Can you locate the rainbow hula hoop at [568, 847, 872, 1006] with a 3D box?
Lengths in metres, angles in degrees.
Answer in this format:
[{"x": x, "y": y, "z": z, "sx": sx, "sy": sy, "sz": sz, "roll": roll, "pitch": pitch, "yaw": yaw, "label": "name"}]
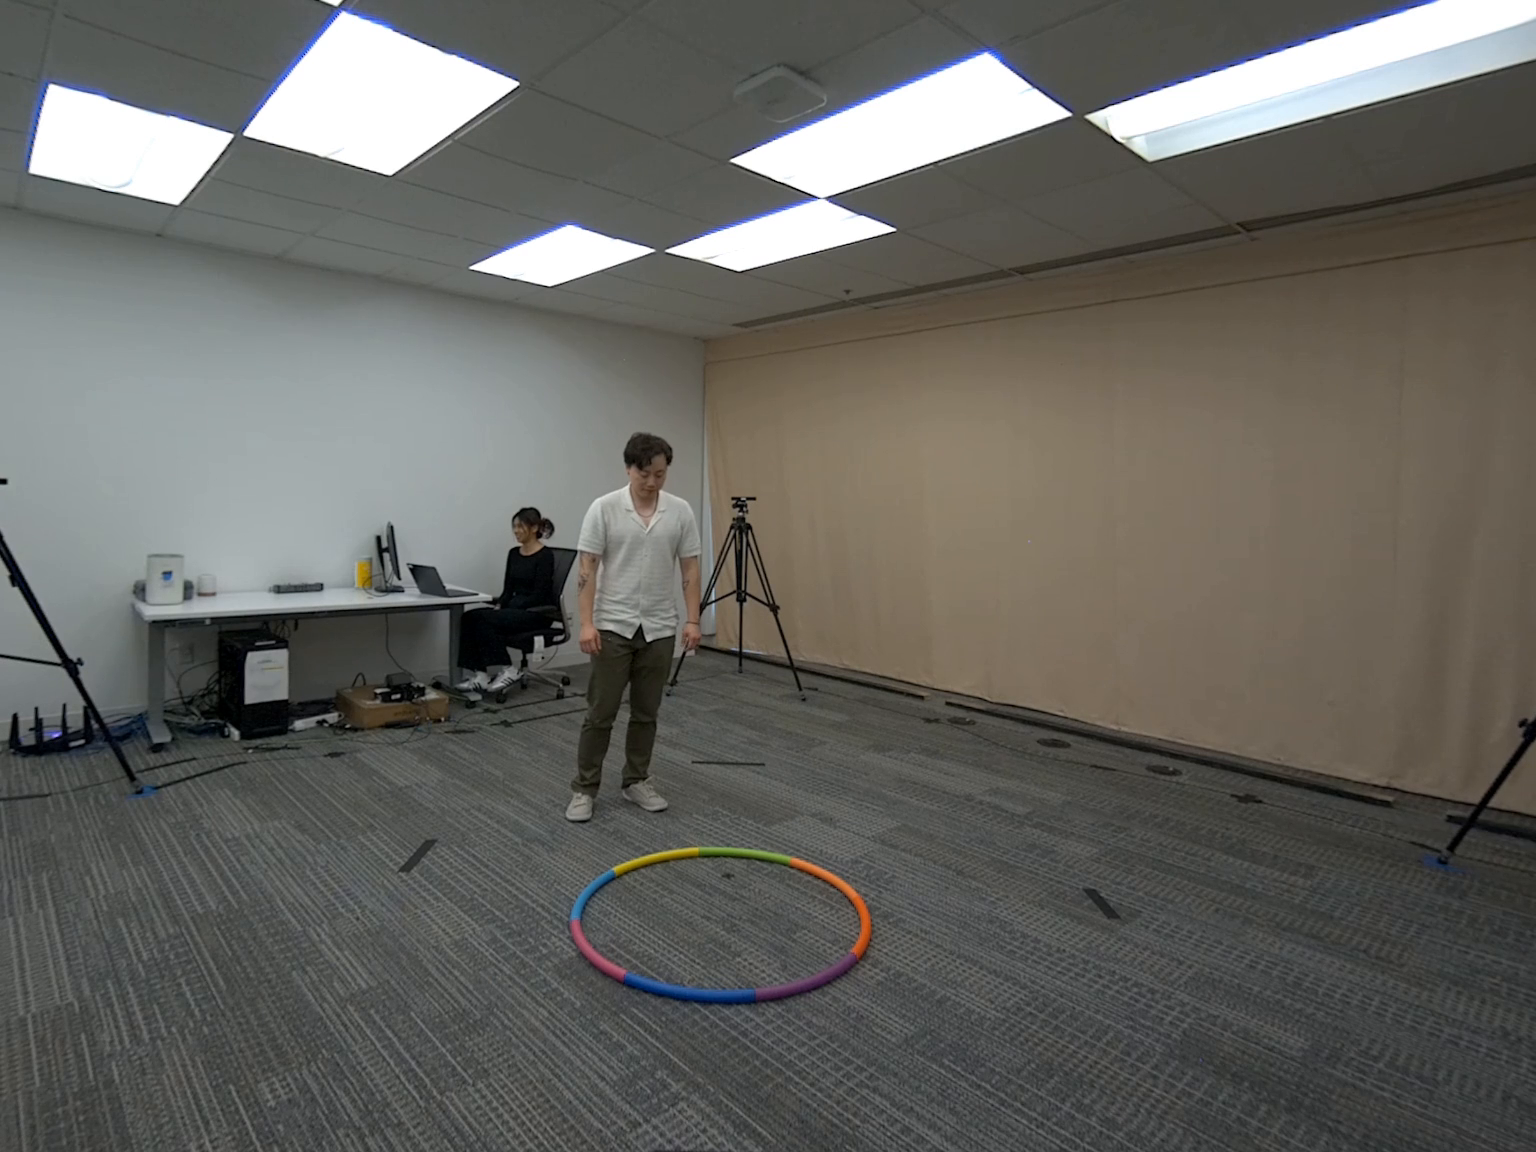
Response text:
[{"x": -0.161, "y": 1.106, "z": 2.799, "sx": 0.978, "sy": 0.035, "sz": 0.982, "roll": 1, "pitch": 5, "yaw": -1, "label": "rainbow hula hoop"}]
